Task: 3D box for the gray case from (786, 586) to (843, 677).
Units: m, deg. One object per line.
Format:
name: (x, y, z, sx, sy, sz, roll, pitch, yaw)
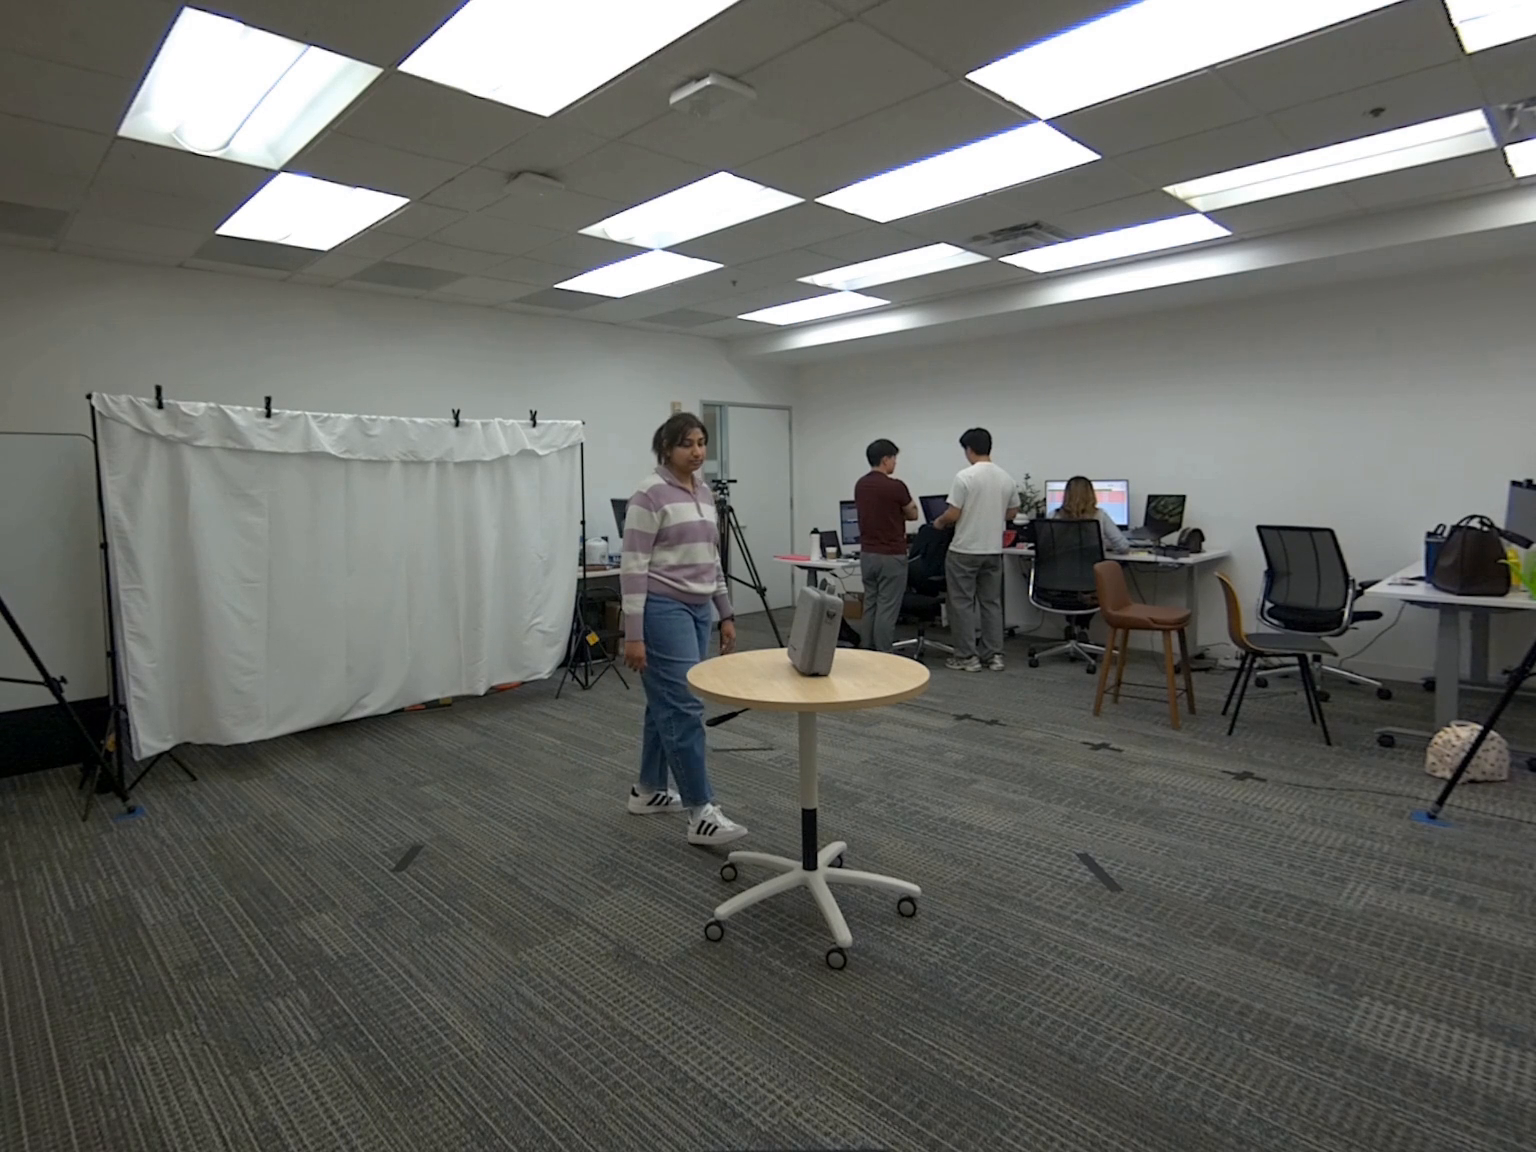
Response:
gray case: (0.153, 0.171, 2.744, 0.103, 0.260, 0.260, 8, 5, -8)
